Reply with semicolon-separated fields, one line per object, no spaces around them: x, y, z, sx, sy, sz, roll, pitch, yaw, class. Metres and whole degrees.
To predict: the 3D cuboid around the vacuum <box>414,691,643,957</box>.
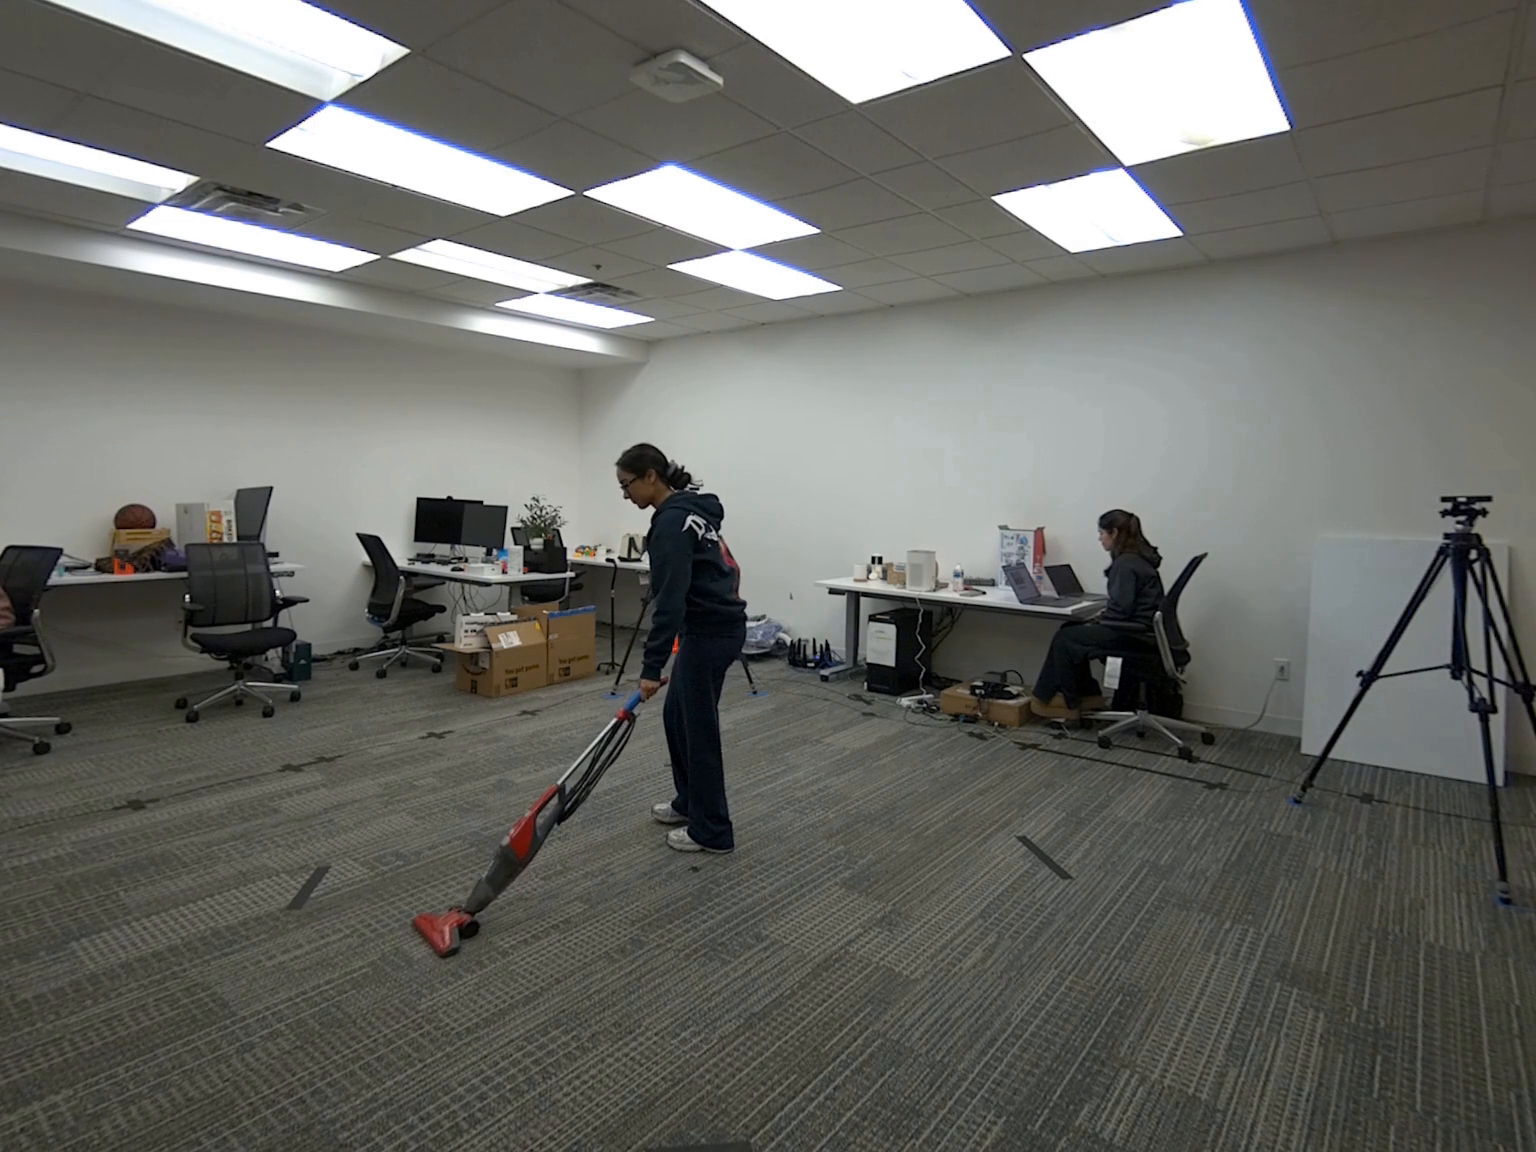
-0.695;0.744;2.862;0.262;0.139;1.049;12;50;43;vacuum
